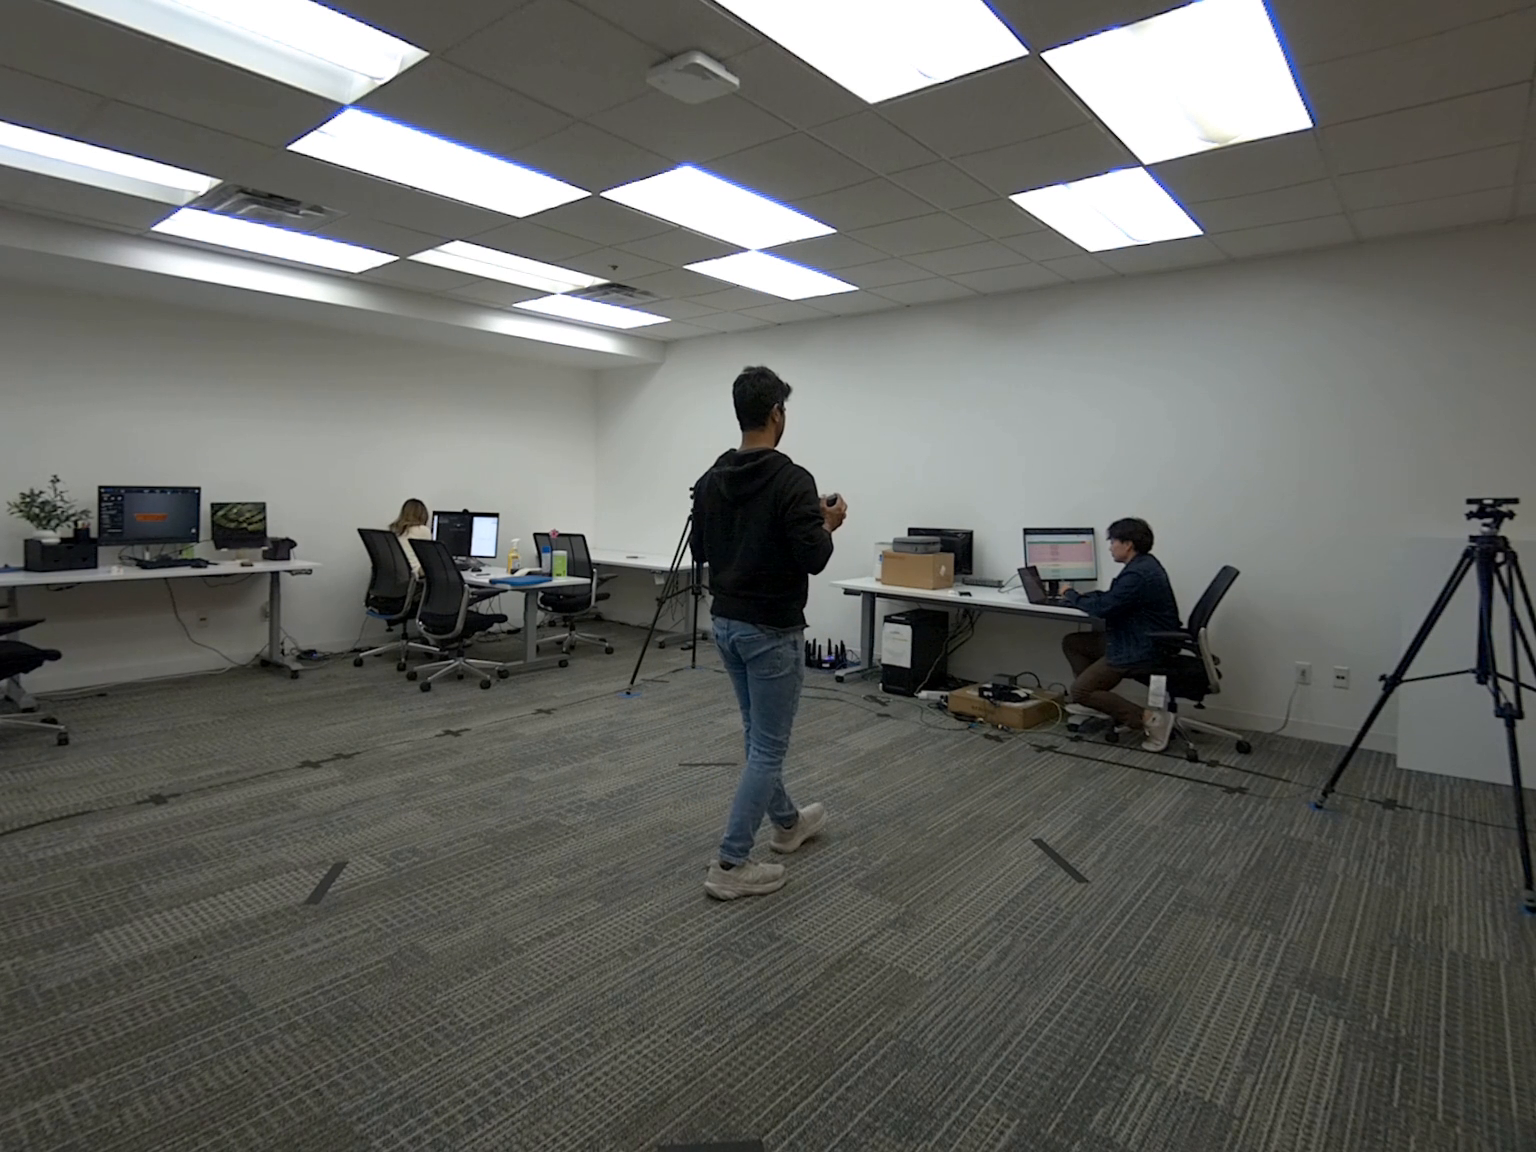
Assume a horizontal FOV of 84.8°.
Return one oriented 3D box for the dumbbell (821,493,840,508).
[{"bbox_3d":[0.119,-0.245,3.187,0.303,0.124,0.104,5,-13,44],"label":"dumbbell"}]
